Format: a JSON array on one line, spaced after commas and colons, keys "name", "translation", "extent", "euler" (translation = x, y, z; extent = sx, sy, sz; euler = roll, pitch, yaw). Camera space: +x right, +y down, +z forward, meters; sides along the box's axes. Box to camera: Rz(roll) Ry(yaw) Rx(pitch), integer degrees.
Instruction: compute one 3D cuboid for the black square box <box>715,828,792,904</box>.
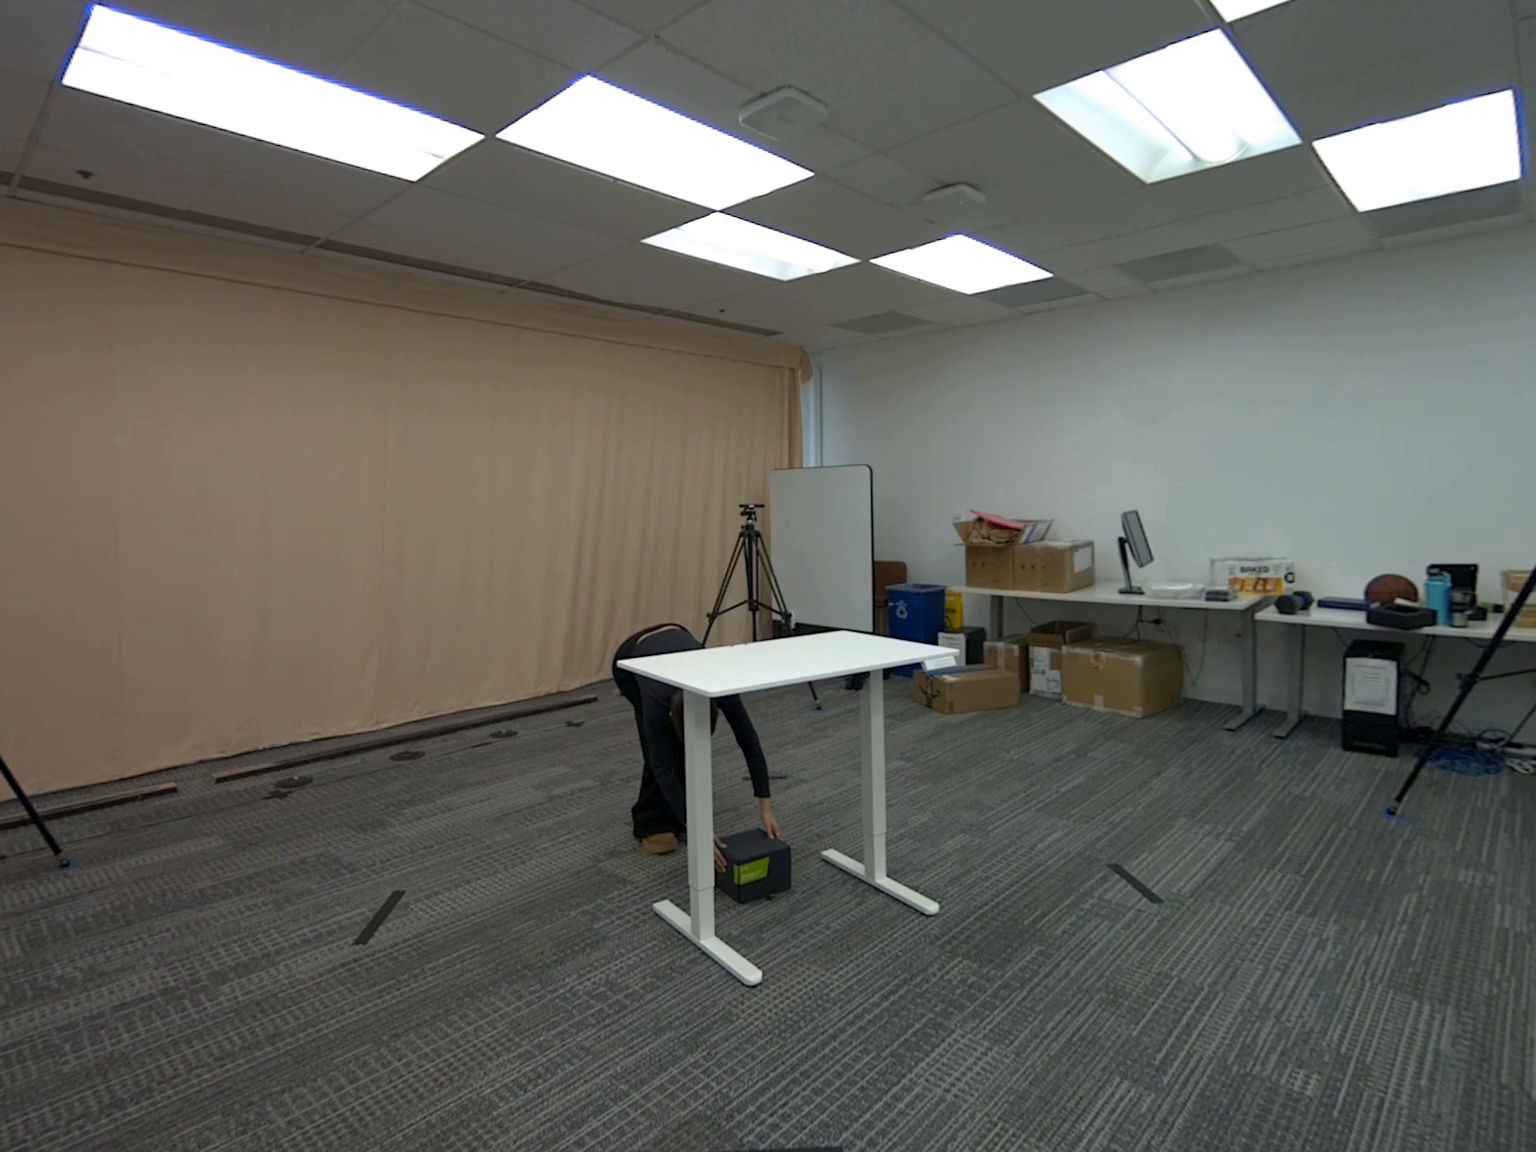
[{"name": "black square box", "translation": [-0.065, 1.052, 3.075], "extent": [0.221, 0.155, 0.223], "euler": [-4, 5, -33]}]
